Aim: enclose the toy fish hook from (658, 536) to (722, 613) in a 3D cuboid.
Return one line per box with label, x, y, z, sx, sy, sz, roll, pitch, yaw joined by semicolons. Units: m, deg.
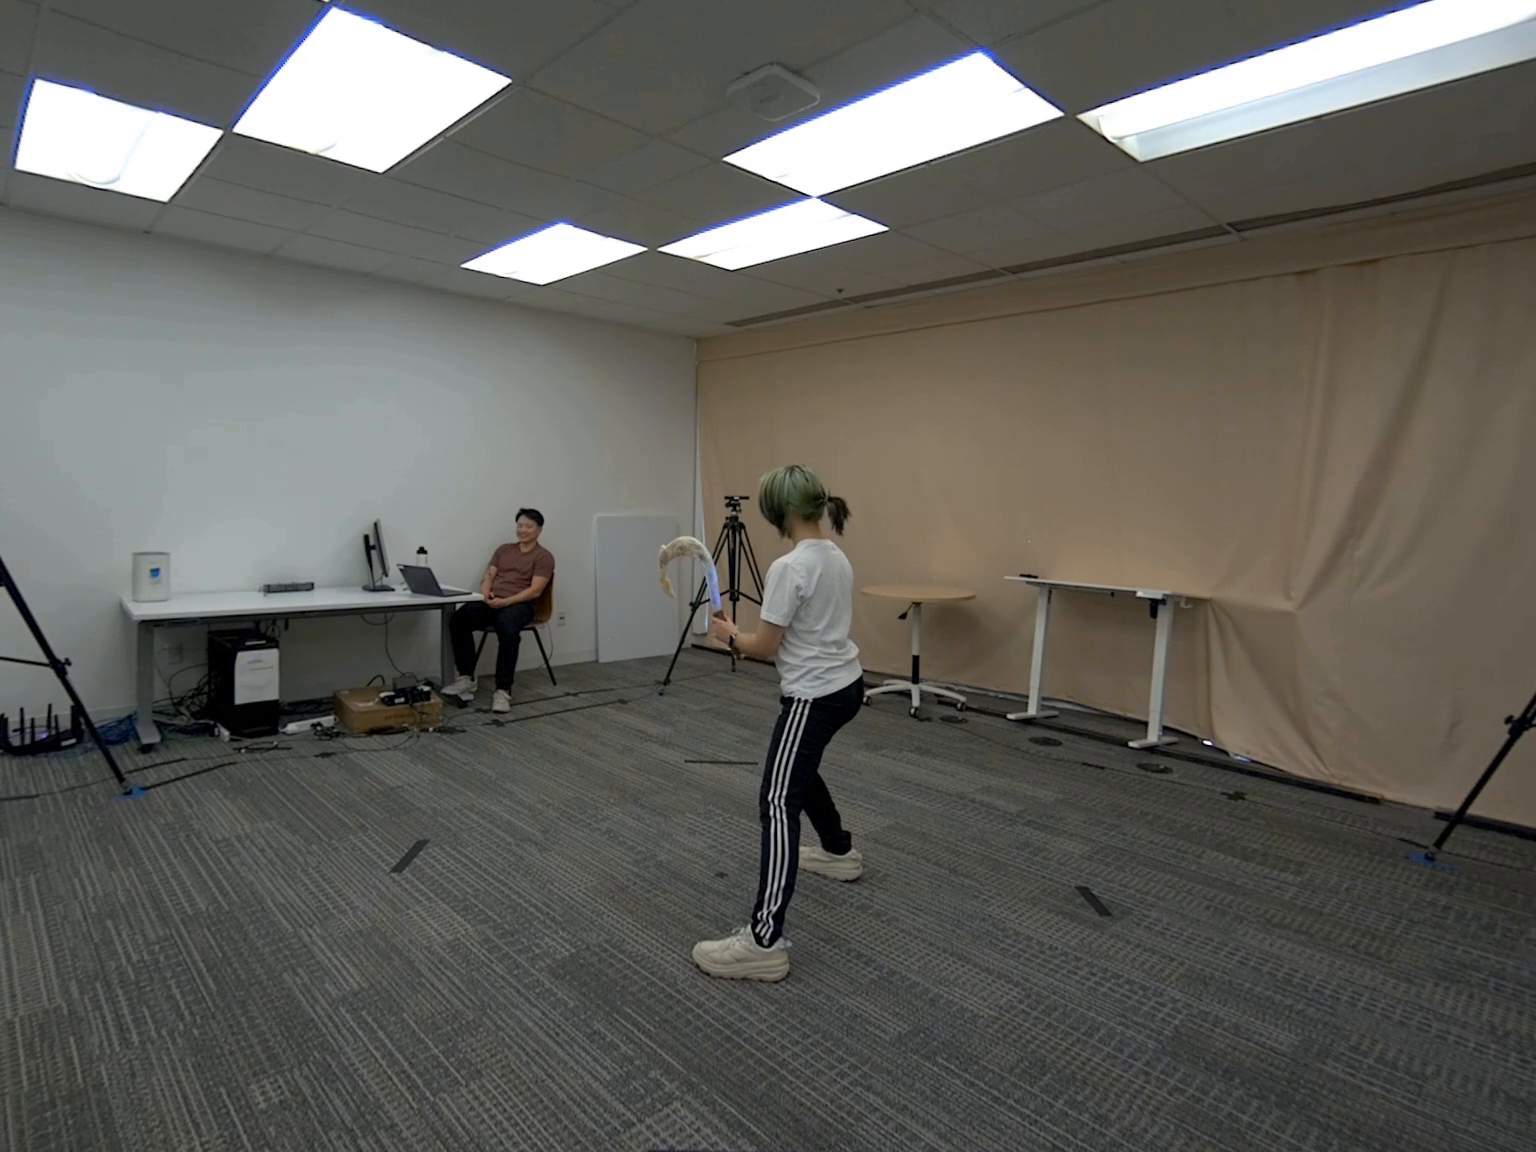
toy fish hook;-0.246;0.097;3.122;0.226;0.508;0.048;-26;-2;20
